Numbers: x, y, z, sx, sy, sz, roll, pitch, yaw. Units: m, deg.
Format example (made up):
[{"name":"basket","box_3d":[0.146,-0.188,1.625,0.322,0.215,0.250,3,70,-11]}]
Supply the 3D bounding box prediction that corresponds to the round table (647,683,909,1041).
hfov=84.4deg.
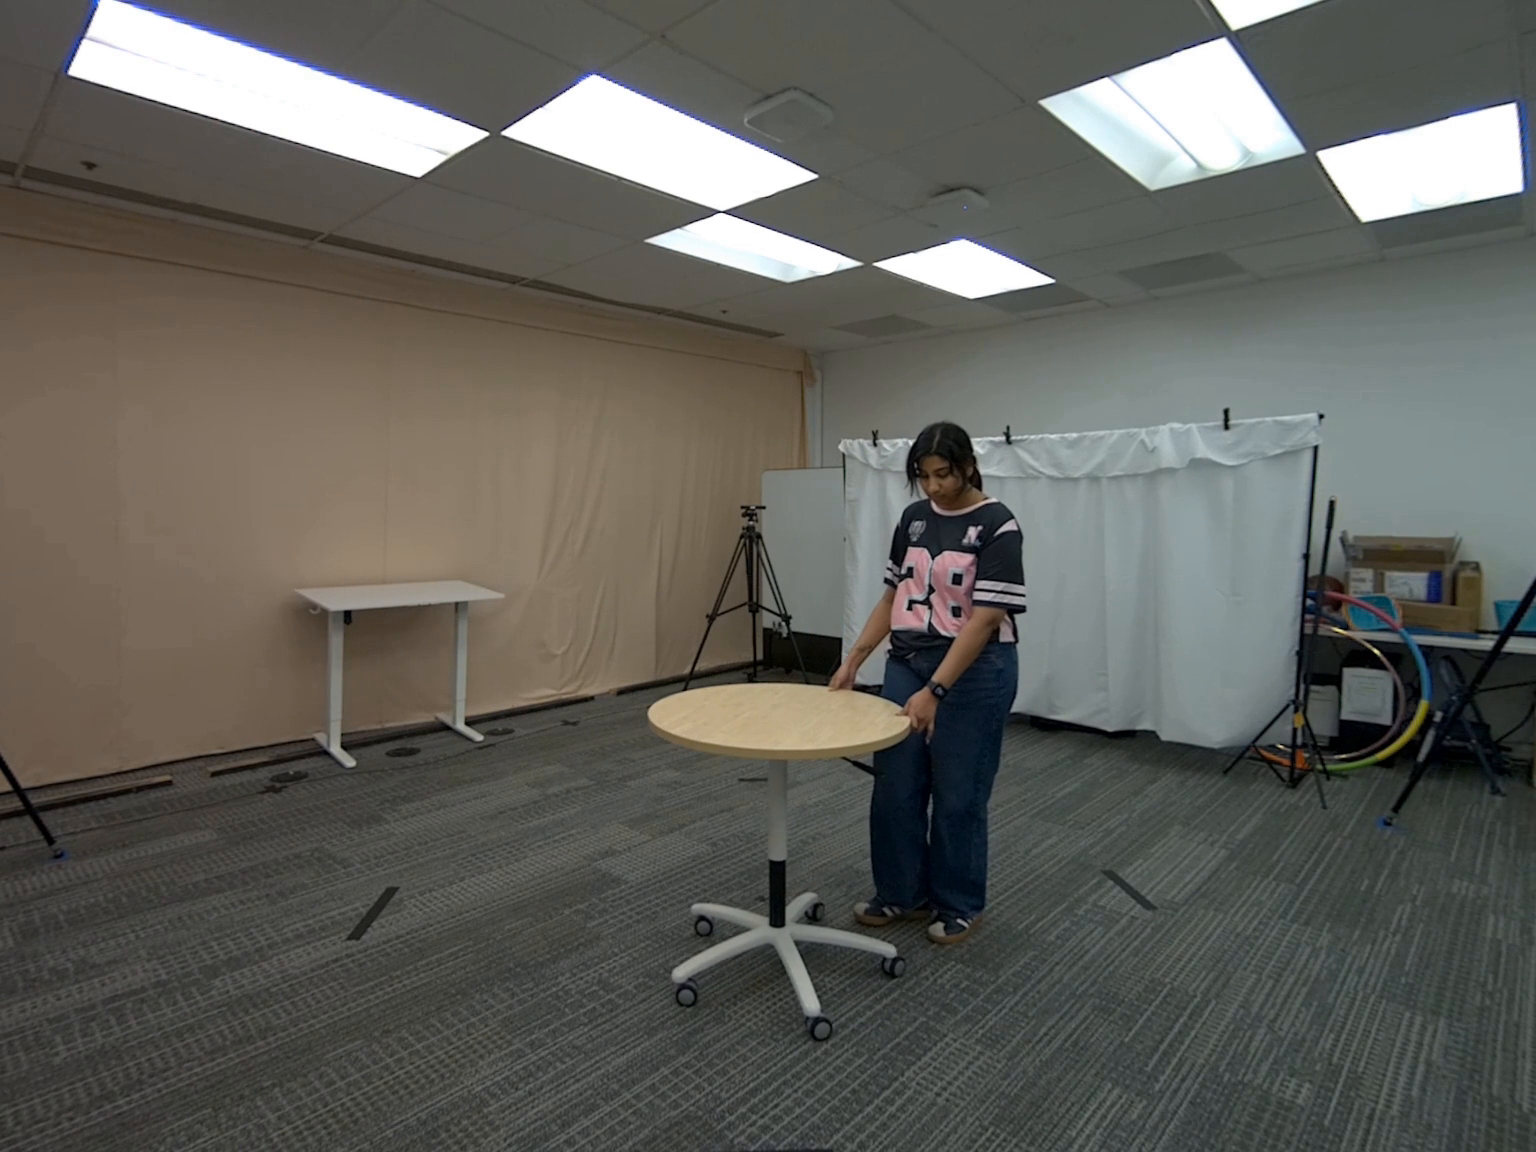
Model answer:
[{"name":"round table","box_3d":[0.029,0.797,2.504,0.763,0.792,0.767,0,4,-2]}]
